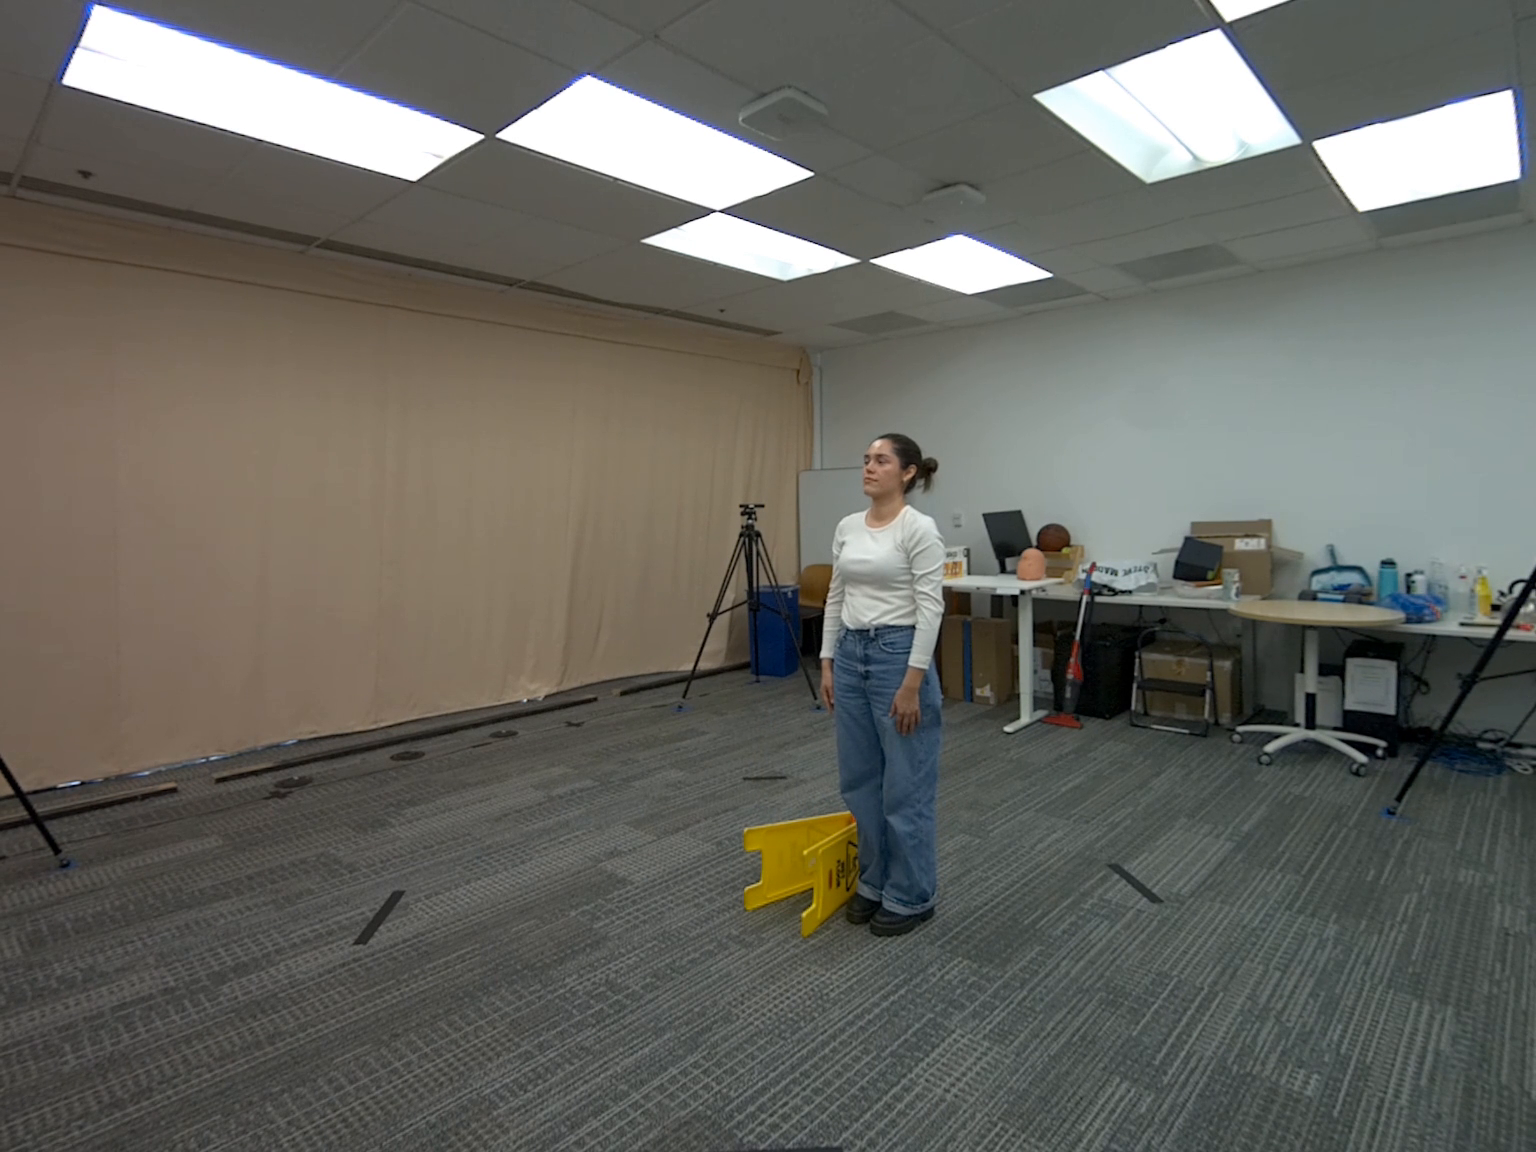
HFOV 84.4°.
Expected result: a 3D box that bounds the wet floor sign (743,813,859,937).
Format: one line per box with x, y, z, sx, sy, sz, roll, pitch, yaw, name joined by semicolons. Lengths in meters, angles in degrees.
0.236;1.003;3.015;0.299;0.282;0.626;4;5;44;wet floor sign
